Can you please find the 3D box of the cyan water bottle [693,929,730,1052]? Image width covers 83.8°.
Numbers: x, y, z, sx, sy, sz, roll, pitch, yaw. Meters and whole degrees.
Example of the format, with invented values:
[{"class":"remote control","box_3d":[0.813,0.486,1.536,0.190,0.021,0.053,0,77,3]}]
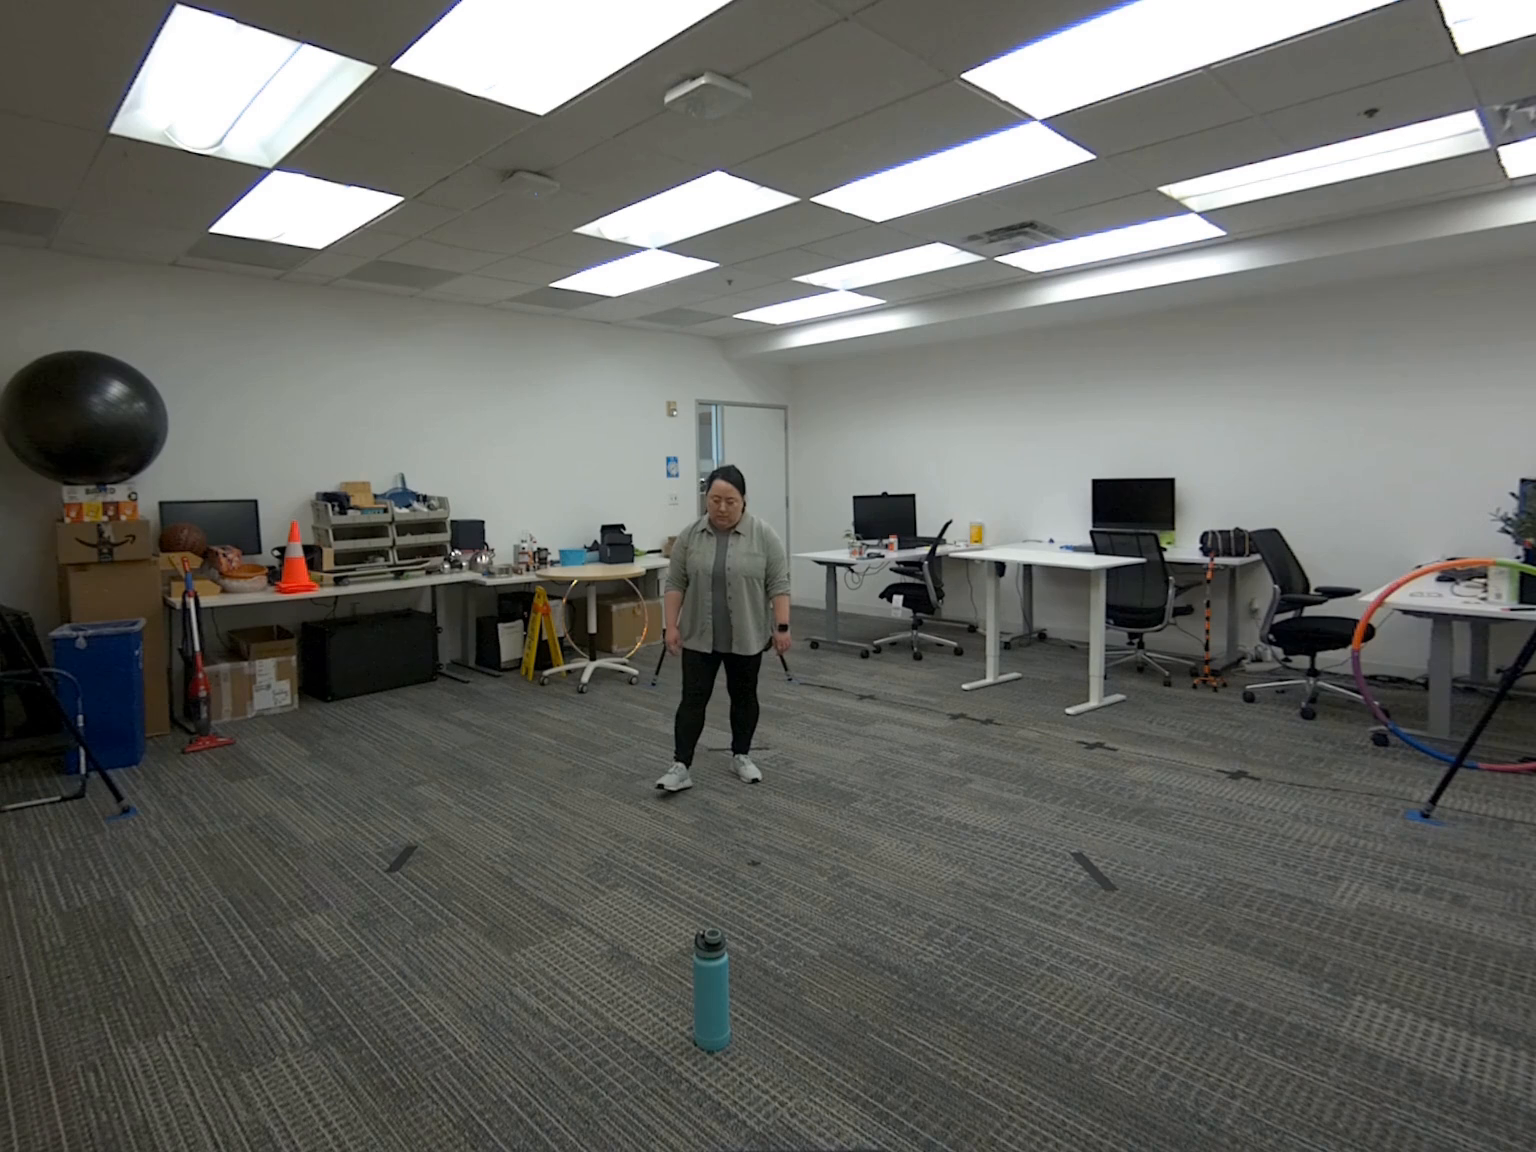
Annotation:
[{"class":"cyan water bottle","box_3d":[-0.144,1.028,2.125,0.092,0.282,0.092,-5,3,-1]}]
